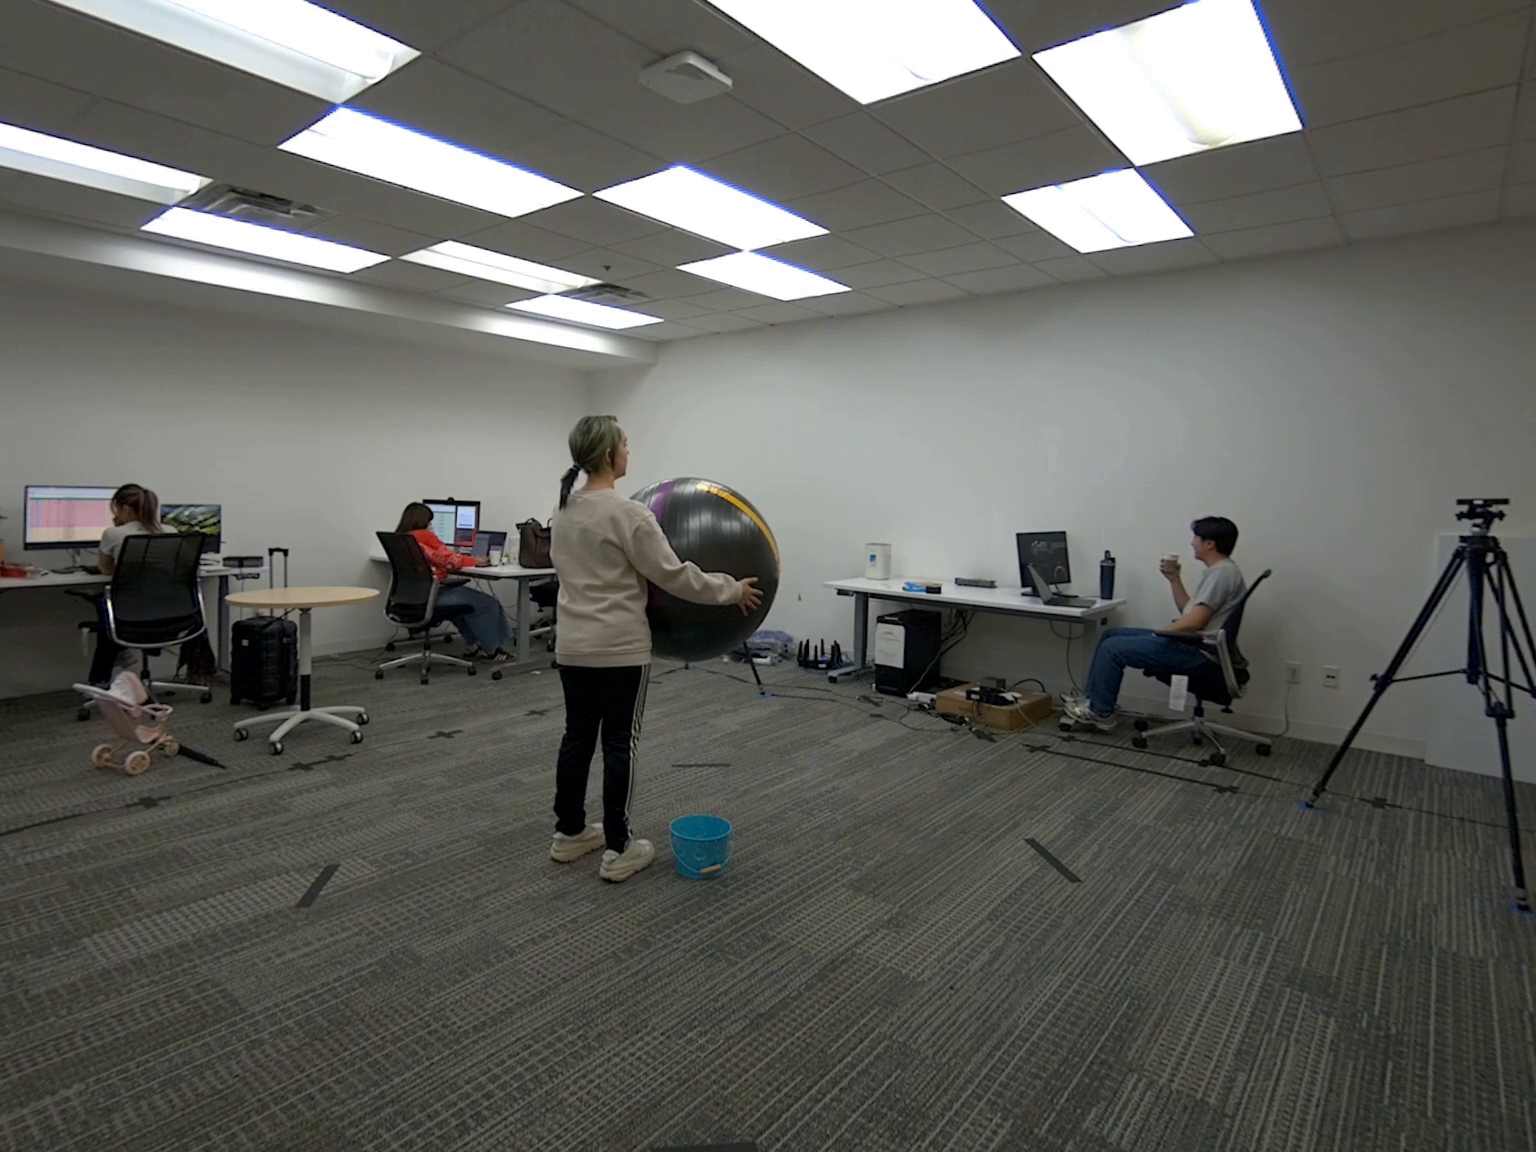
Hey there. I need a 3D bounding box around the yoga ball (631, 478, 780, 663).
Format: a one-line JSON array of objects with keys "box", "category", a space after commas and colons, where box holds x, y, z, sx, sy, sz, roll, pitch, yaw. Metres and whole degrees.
[{"box": [-0.338, -0.025, 3.520, 0.757, 0.756, 0.762, 1, 4, -2], "category": "yoga ball"}]
